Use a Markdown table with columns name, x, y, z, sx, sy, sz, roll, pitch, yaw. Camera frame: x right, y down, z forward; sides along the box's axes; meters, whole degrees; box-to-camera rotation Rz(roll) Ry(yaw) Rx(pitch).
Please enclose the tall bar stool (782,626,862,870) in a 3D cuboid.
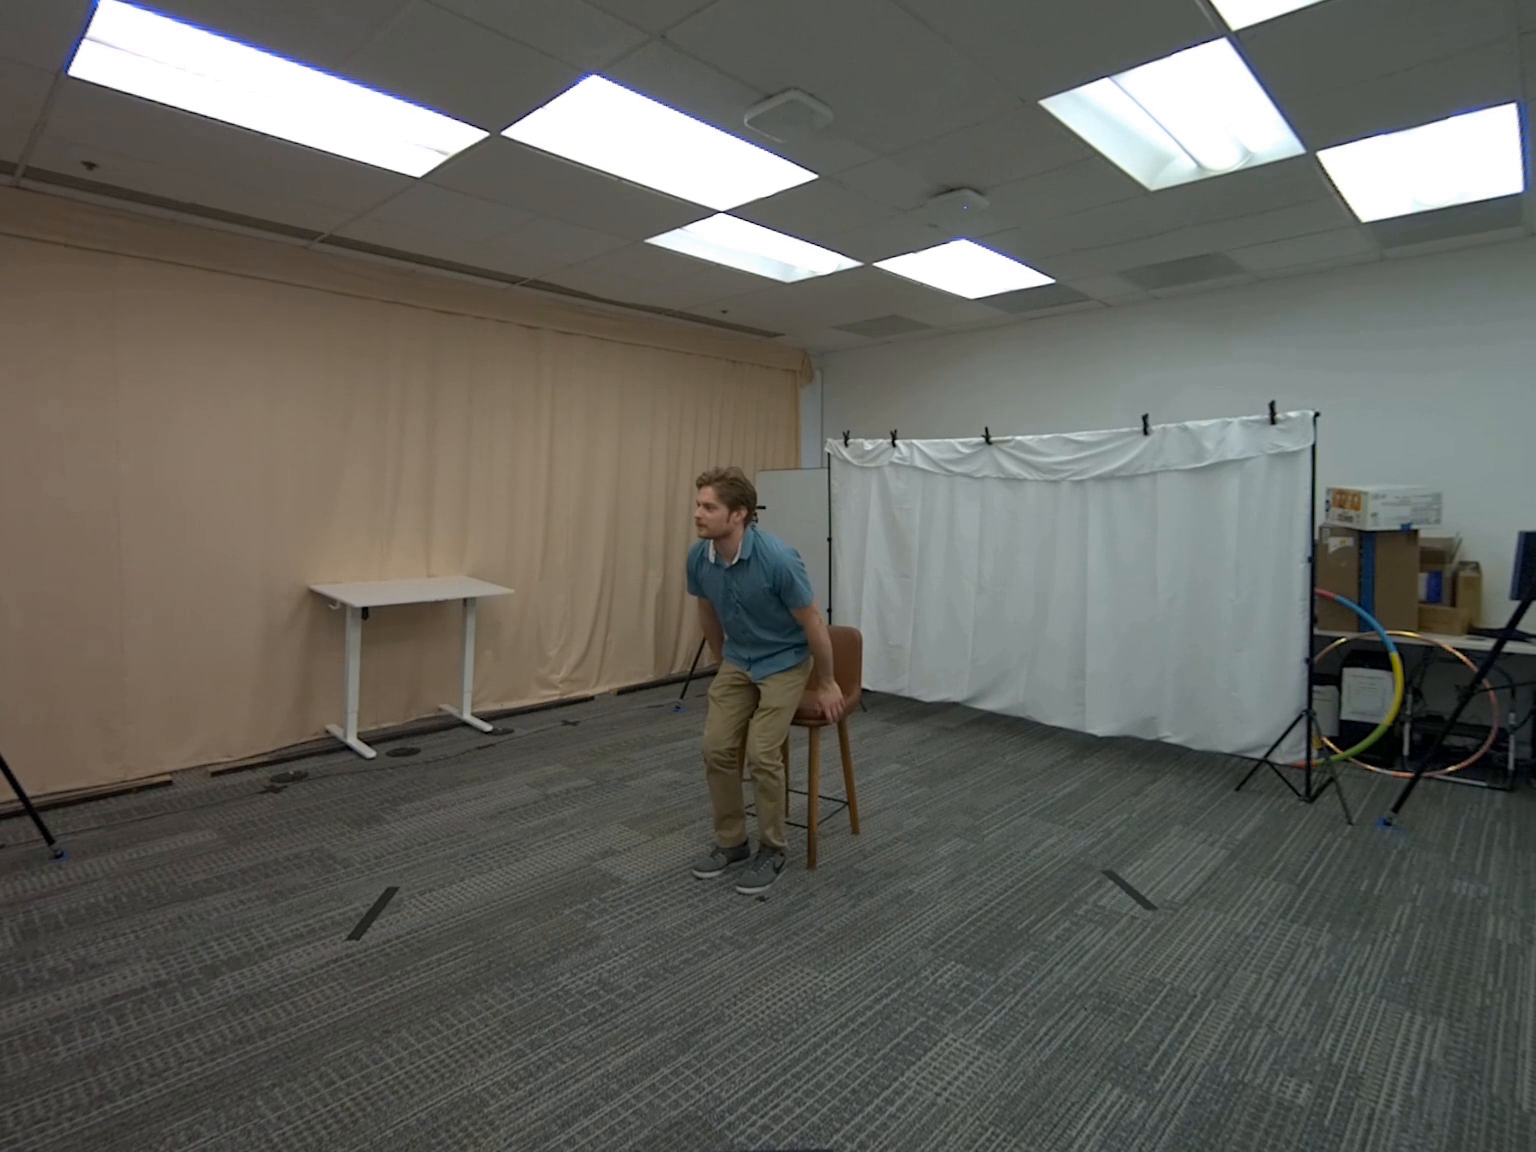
| name | x | y | z | sx | sy | sz | roll | pitch | yaw |
| --- | --- | --- | --- | --- | --- | --- | --- | --- | --- |
| tall bar stool | 0.119 | 0.662 | 3.487 | 0.471 | 0.889 | 0.454 | 3 | 2 | 33 |
